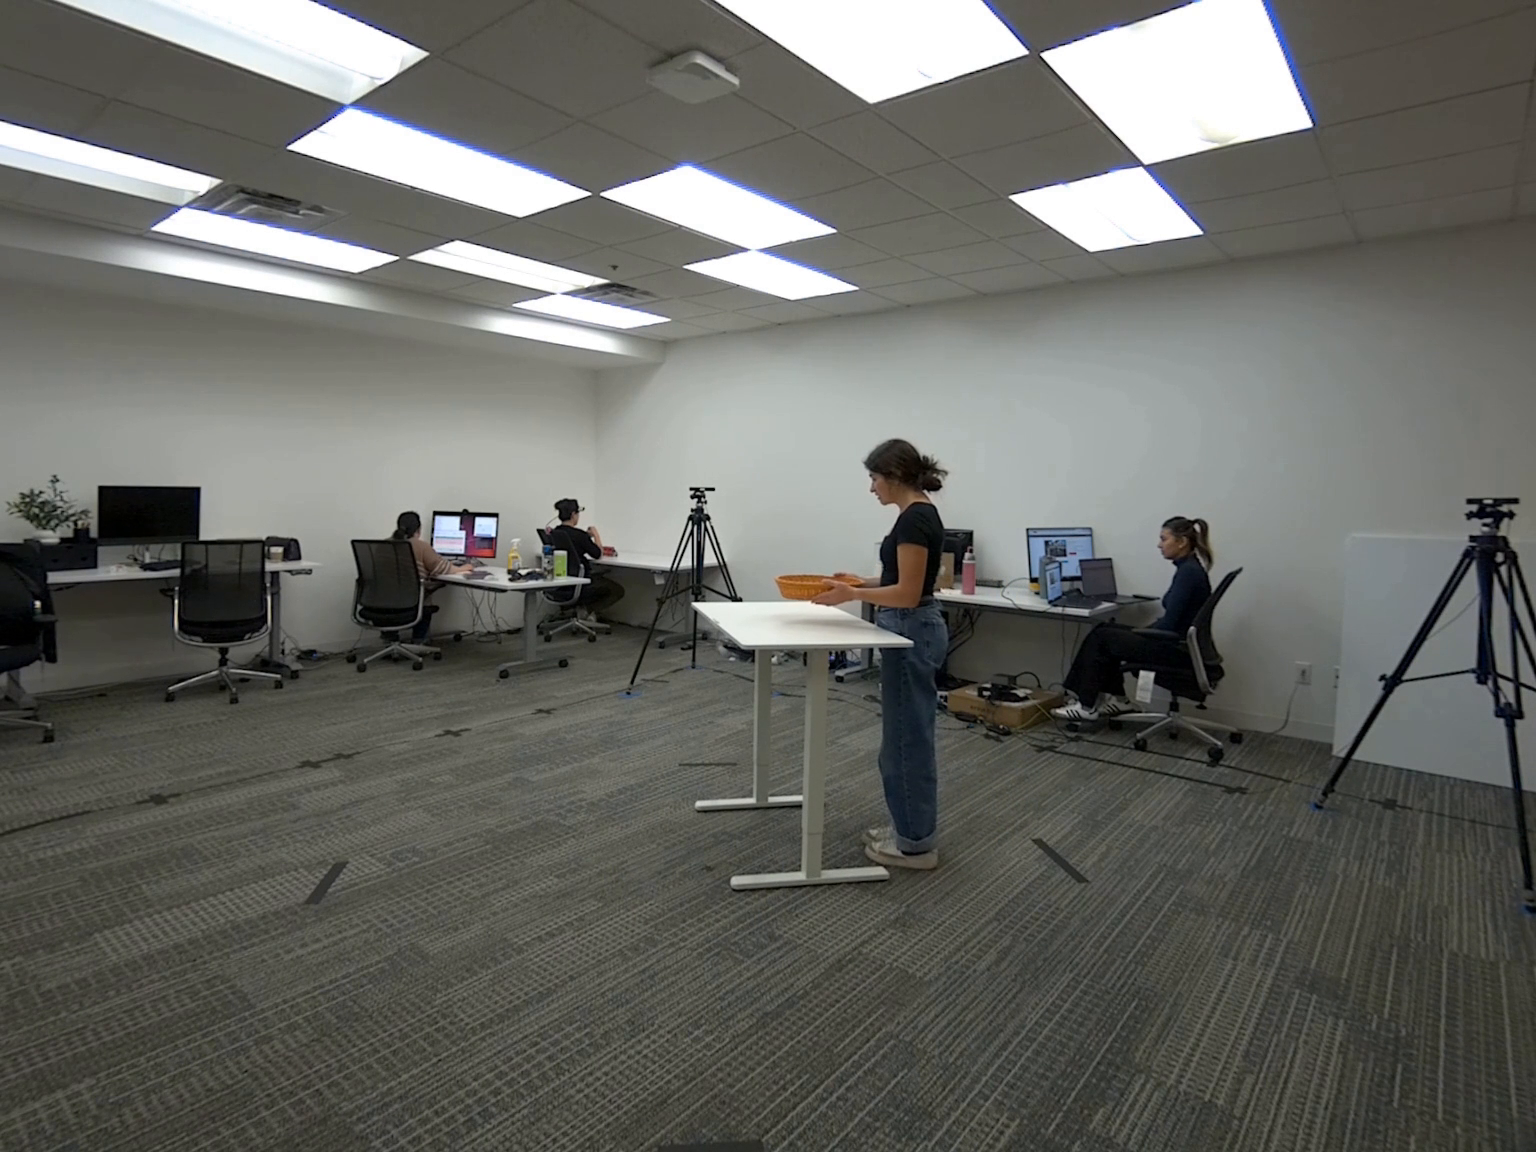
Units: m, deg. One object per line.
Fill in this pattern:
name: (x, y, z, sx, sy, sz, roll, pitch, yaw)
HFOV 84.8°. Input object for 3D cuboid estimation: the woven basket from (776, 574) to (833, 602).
woven basket: (0.188, 0.056, 3.288, 0.354, 0.073, 0.251, 3, 9, 9)
